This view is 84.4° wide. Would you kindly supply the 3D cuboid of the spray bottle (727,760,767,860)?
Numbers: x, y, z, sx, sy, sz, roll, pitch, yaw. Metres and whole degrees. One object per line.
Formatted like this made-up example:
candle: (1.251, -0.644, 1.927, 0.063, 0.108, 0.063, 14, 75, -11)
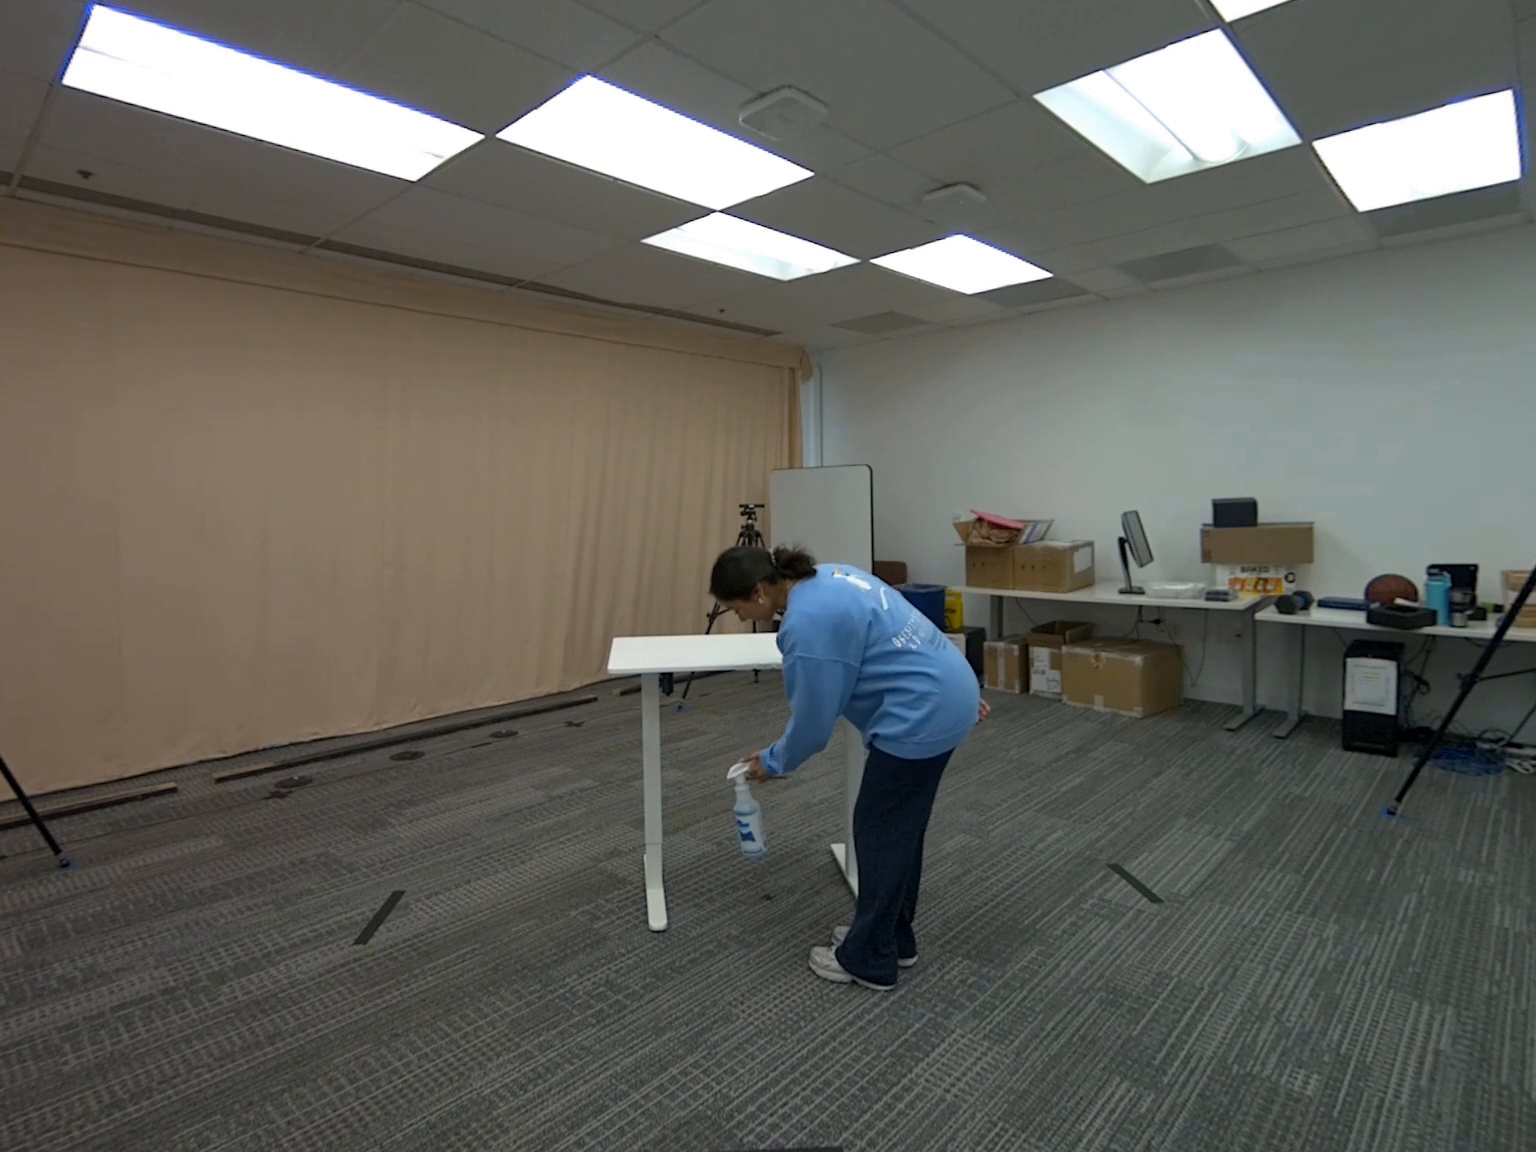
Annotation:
spray bottle: (-0.056, 0.735, 2.636, 0.090, 0.296, 0.087, -9, 5, 0)
